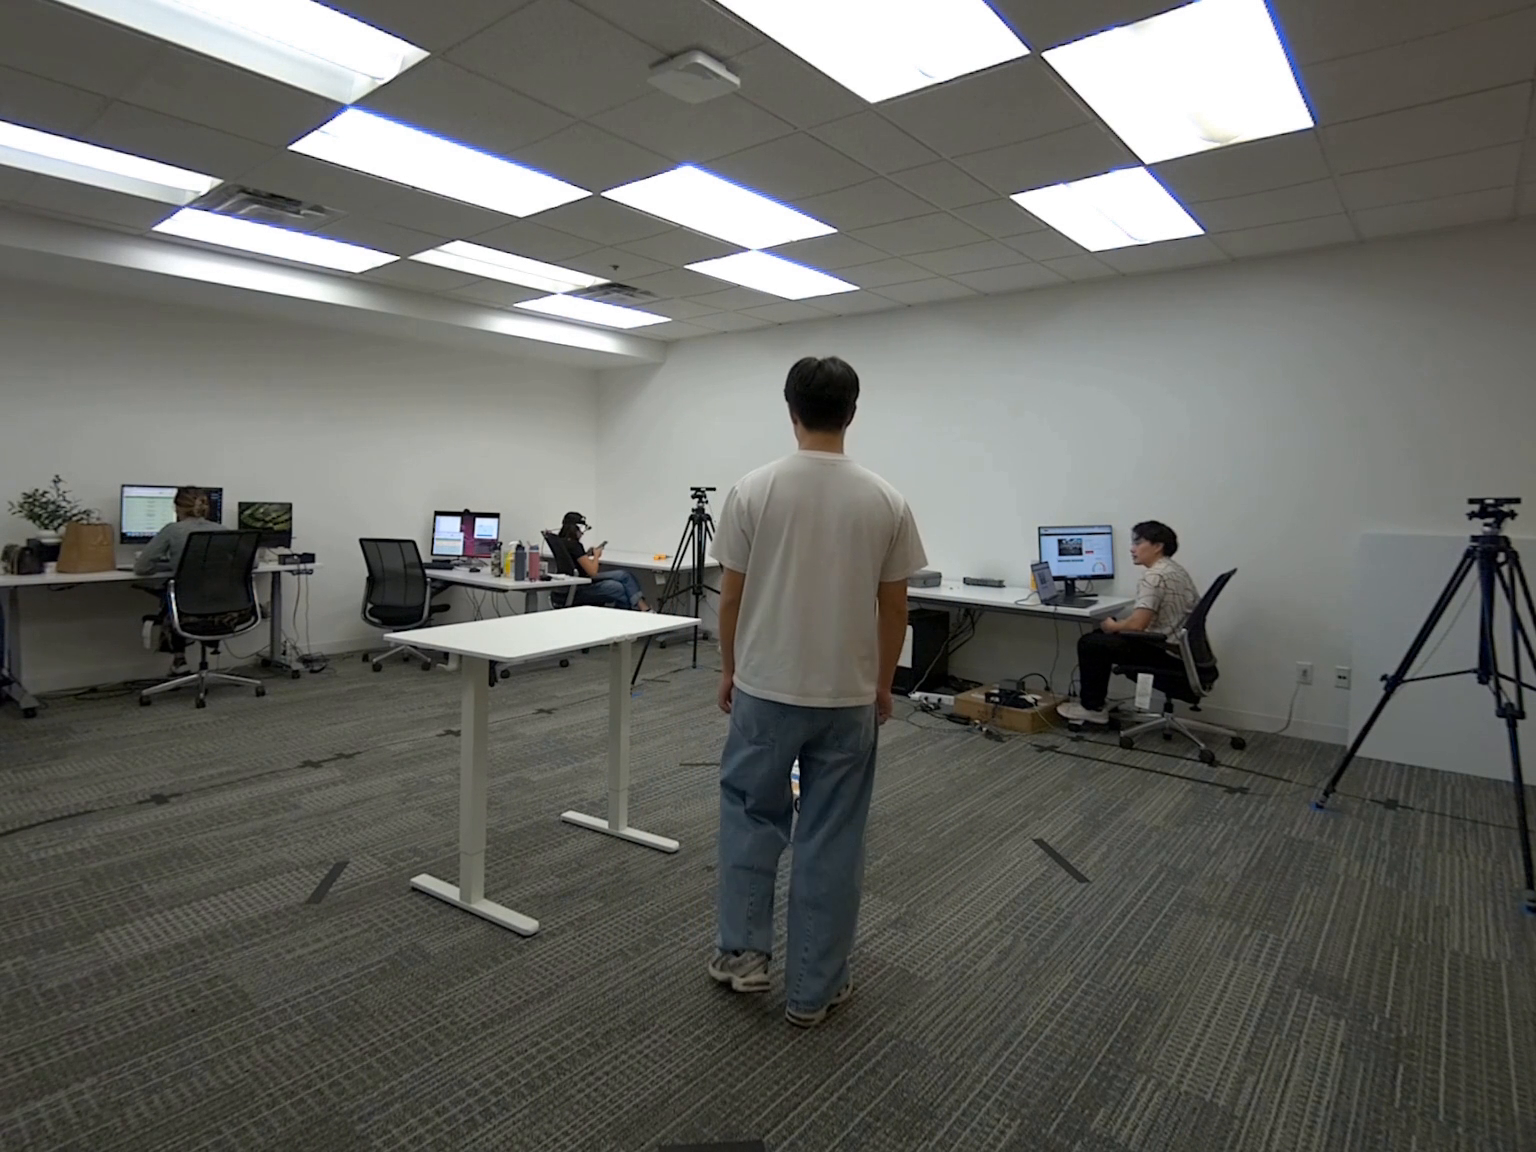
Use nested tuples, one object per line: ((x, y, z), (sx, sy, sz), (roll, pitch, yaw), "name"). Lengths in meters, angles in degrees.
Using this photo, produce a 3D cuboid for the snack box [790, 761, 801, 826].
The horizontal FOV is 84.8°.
((0.088, 0.921, 3.549), (0.419, 0.205, 0.330), (6, 7, 42), "snack box")
